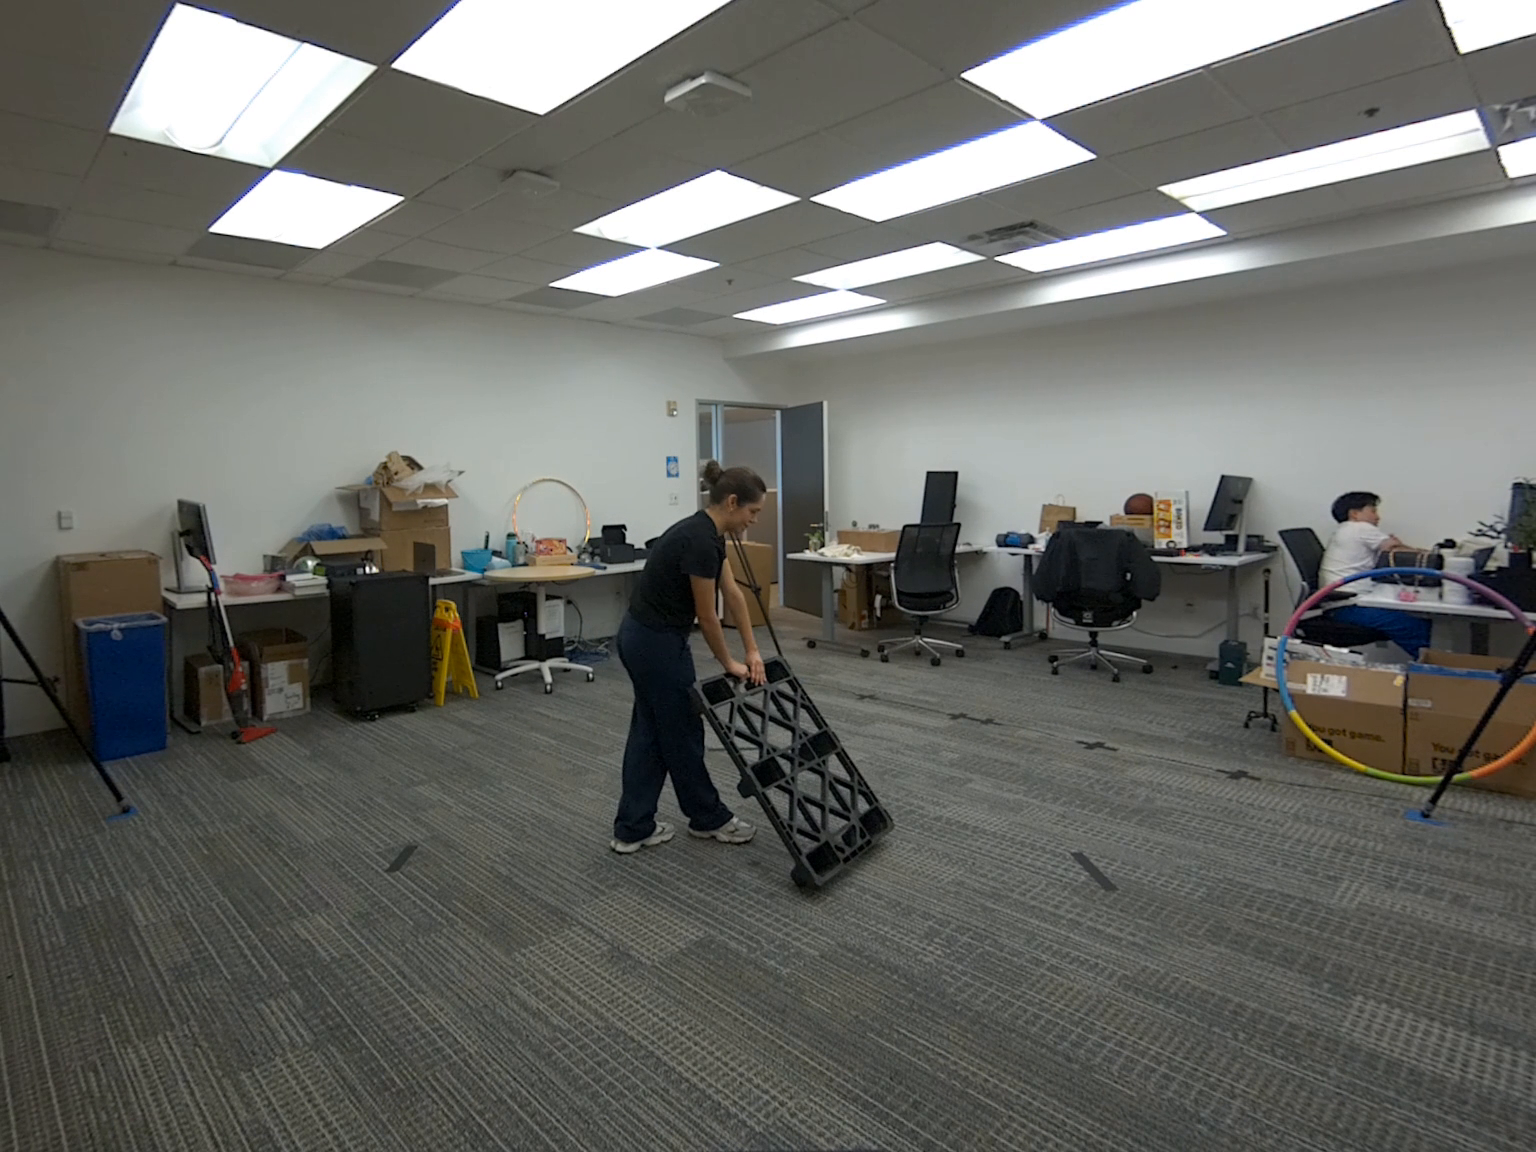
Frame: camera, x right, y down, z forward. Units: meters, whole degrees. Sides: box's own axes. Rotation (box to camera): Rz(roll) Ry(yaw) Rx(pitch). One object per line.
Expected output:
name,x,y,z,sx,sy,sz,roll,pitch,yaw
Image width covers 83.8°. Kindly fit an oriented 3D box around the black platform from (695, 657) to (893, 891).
black platform,0.070,0.709,3.208,0.143,0.825,0.590,-46,-21,30
